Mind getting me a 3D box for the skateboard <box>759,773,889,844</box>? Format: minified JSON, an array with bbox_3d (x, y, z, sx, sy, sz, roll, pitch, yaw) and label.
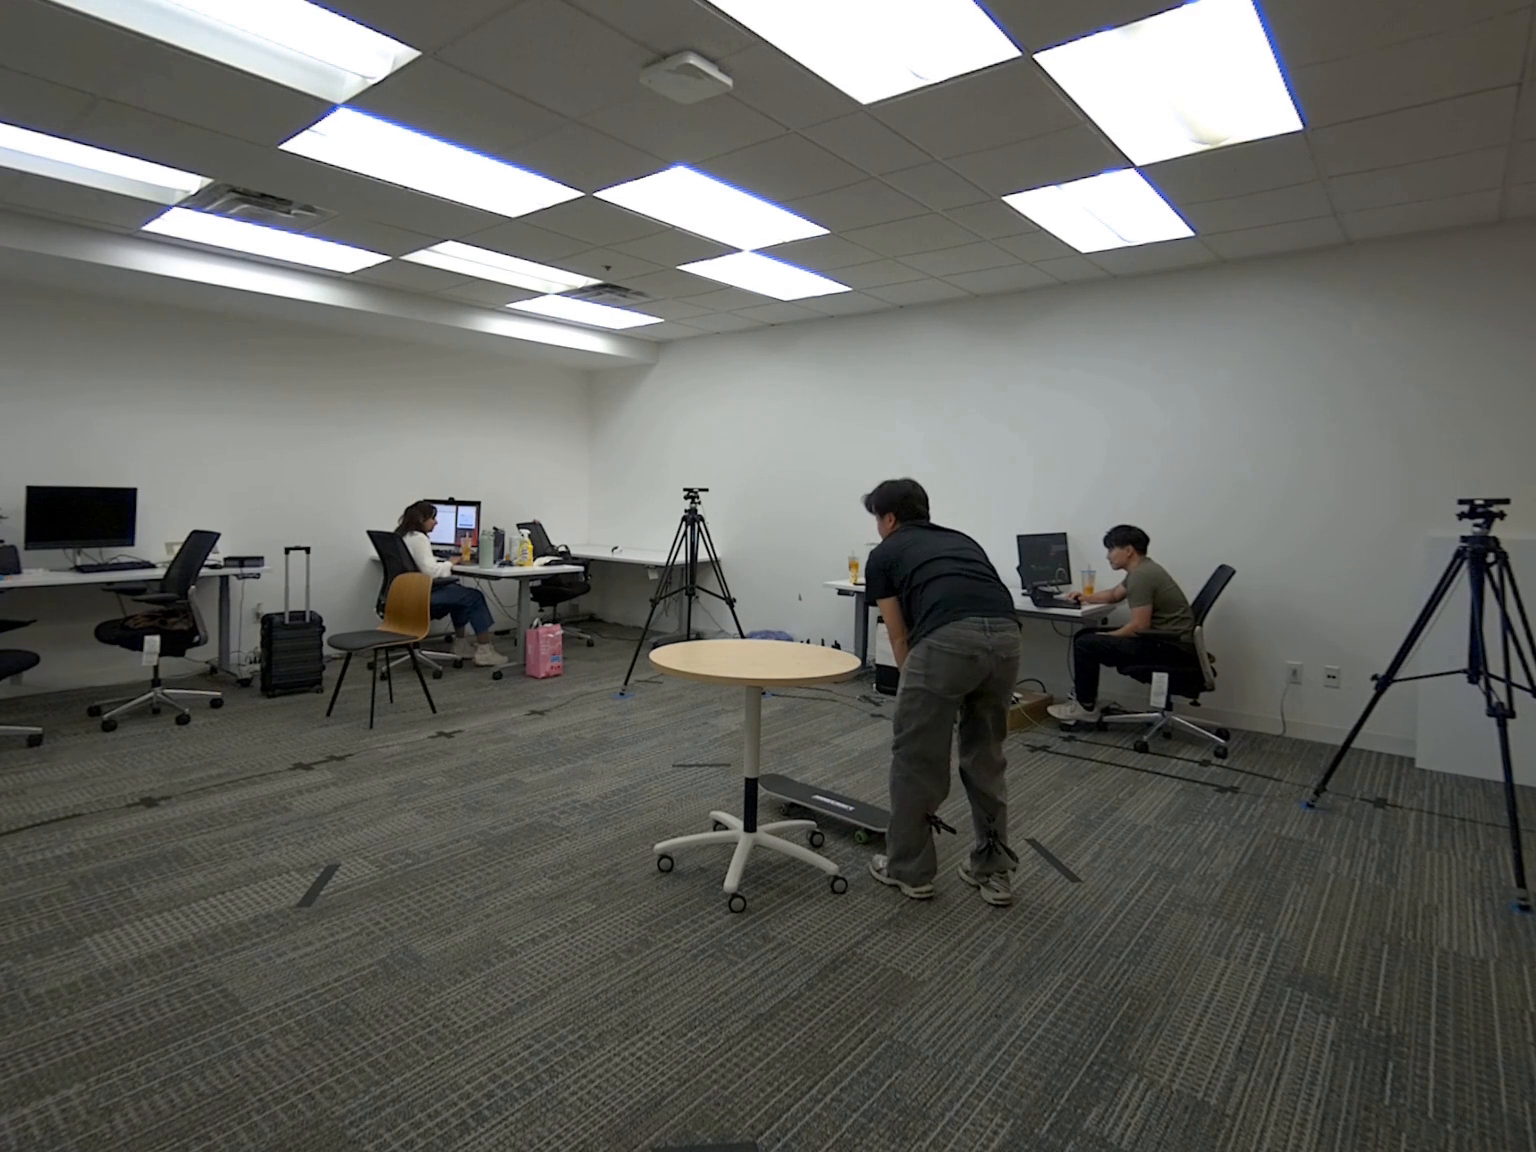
[{"bbox_3d":[0.264,0.979,3.568,0.813,0.110,0.188,7,8,42],"label":"skateboard"}]
